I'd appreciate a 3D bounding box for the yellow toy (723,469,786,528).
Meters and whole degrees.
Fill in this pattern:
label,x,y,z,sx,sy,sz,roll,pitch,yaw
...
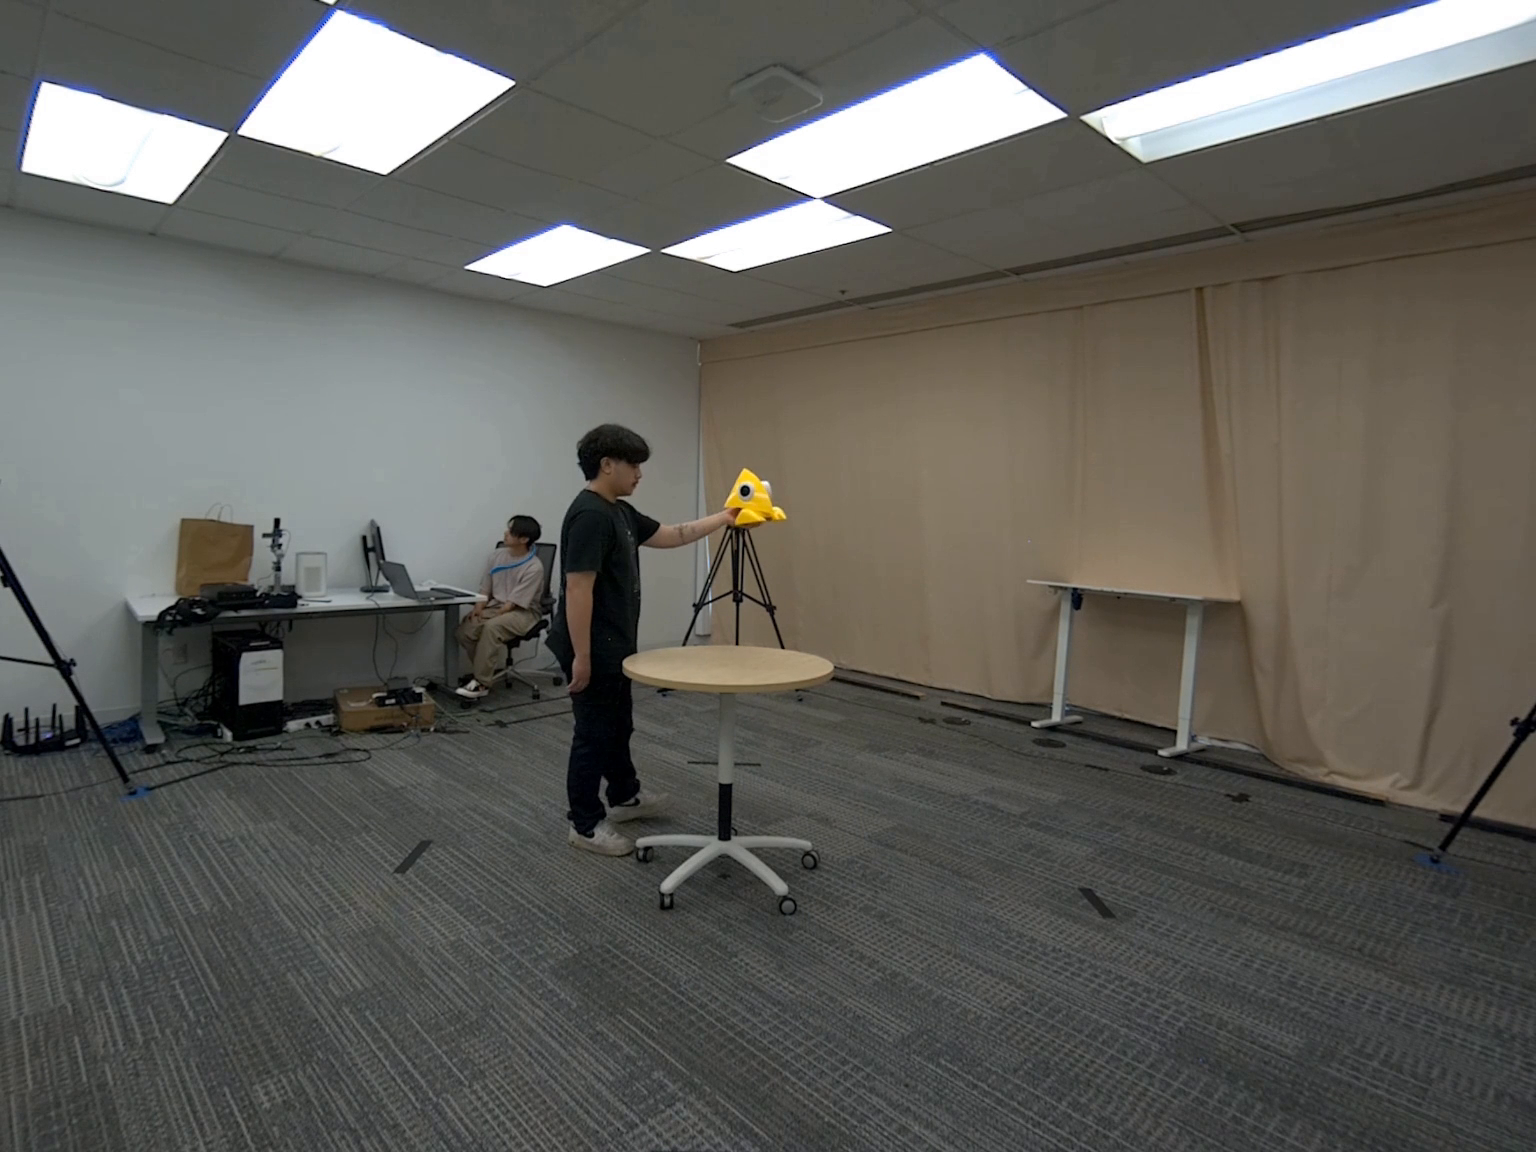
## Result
label,x,y,z,sx,sy,sz,roll,pitch,yaw
yellow toy,-0.059,-0.334,3.413,0.200,0.231,0.197,-5,-1,-37
